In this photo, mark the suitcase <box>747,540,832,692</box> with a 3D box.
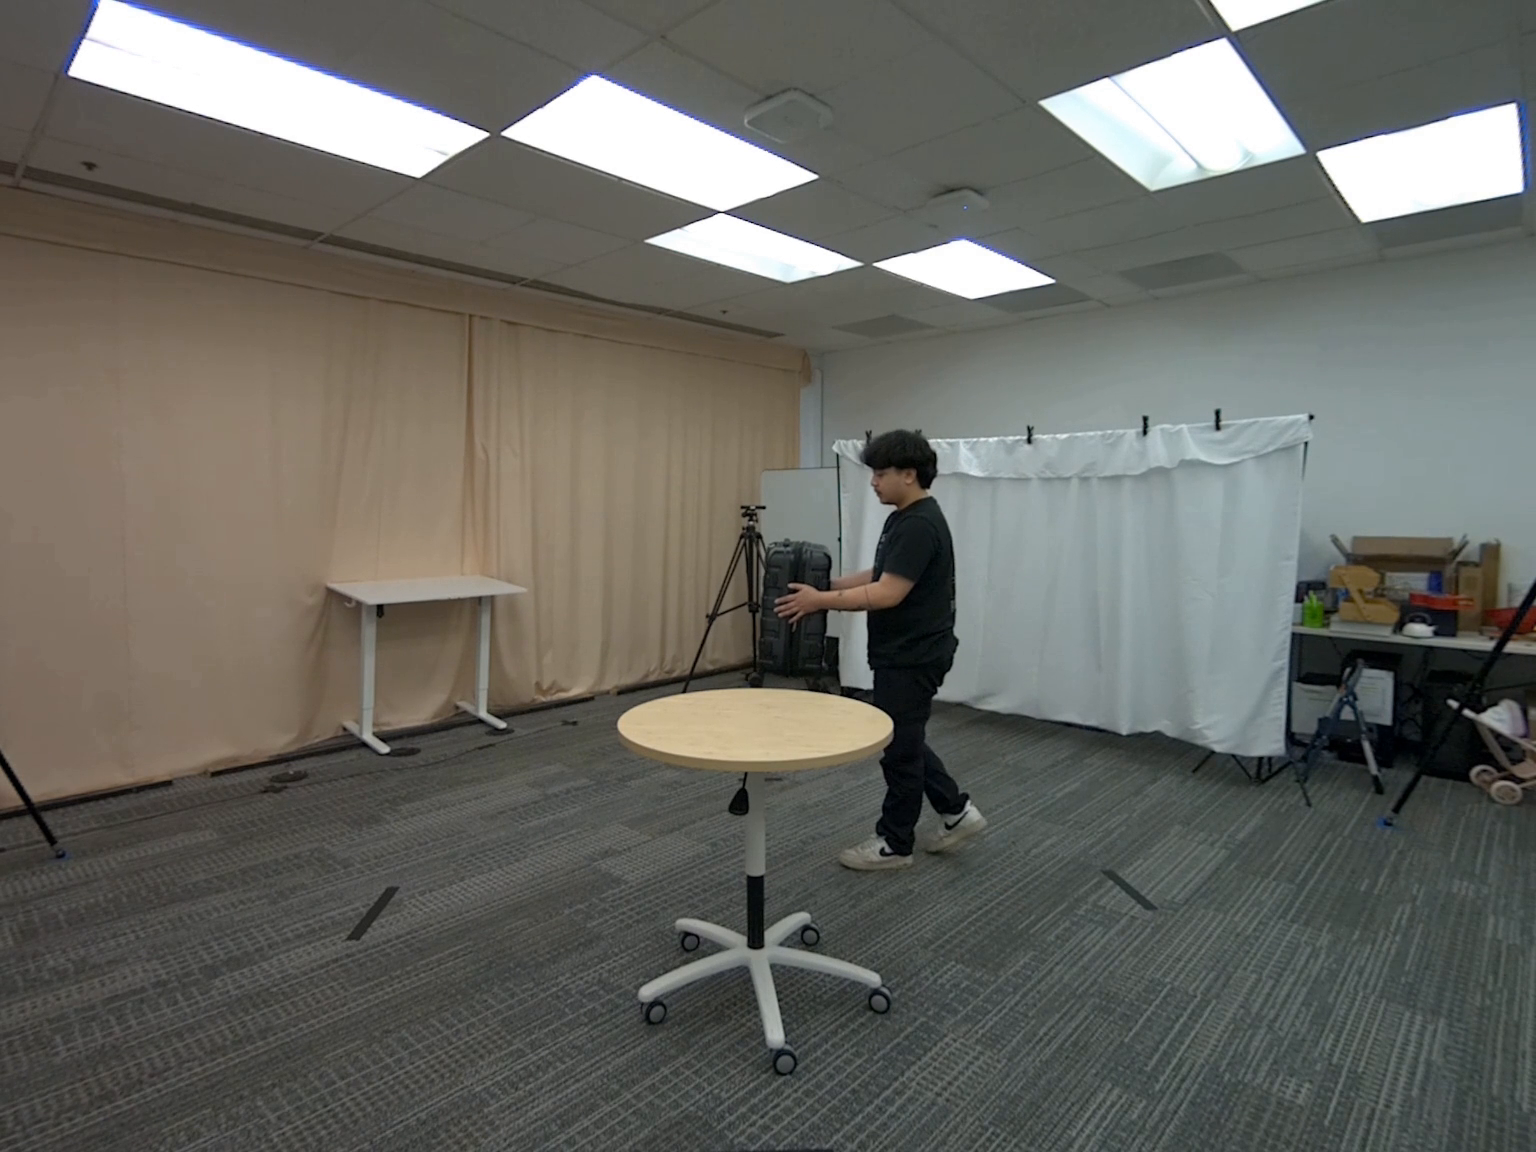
[{"bbox_3d":[0.112,0.138,3.279,0.250,0.548,0.373,3,4,7],"label":"suitcase"}]
